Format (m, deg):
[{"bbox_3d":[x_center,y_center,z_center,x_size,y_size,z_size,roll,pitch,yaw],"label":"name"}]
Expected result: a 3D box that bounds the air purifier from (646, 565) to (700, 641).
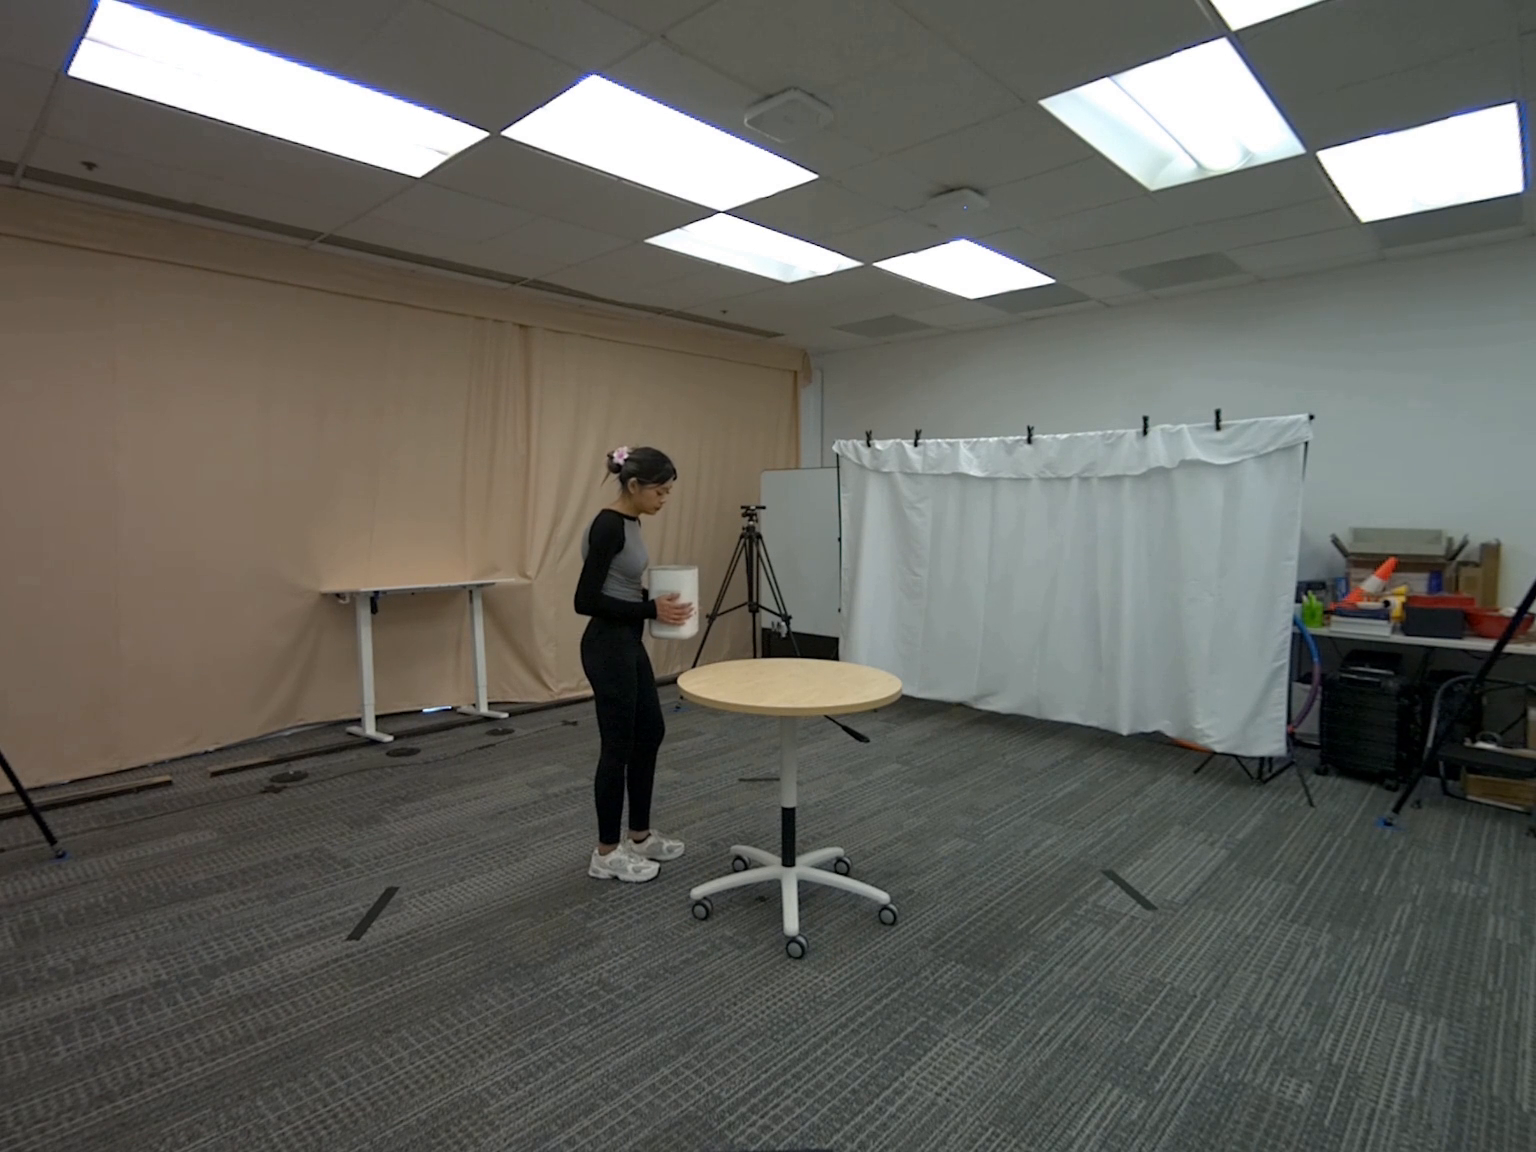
[{"bbox_3d":[-0.356,0.100,3.165,0.174,0.264,0.169,1,5,11],"label":"air purifier"}]
